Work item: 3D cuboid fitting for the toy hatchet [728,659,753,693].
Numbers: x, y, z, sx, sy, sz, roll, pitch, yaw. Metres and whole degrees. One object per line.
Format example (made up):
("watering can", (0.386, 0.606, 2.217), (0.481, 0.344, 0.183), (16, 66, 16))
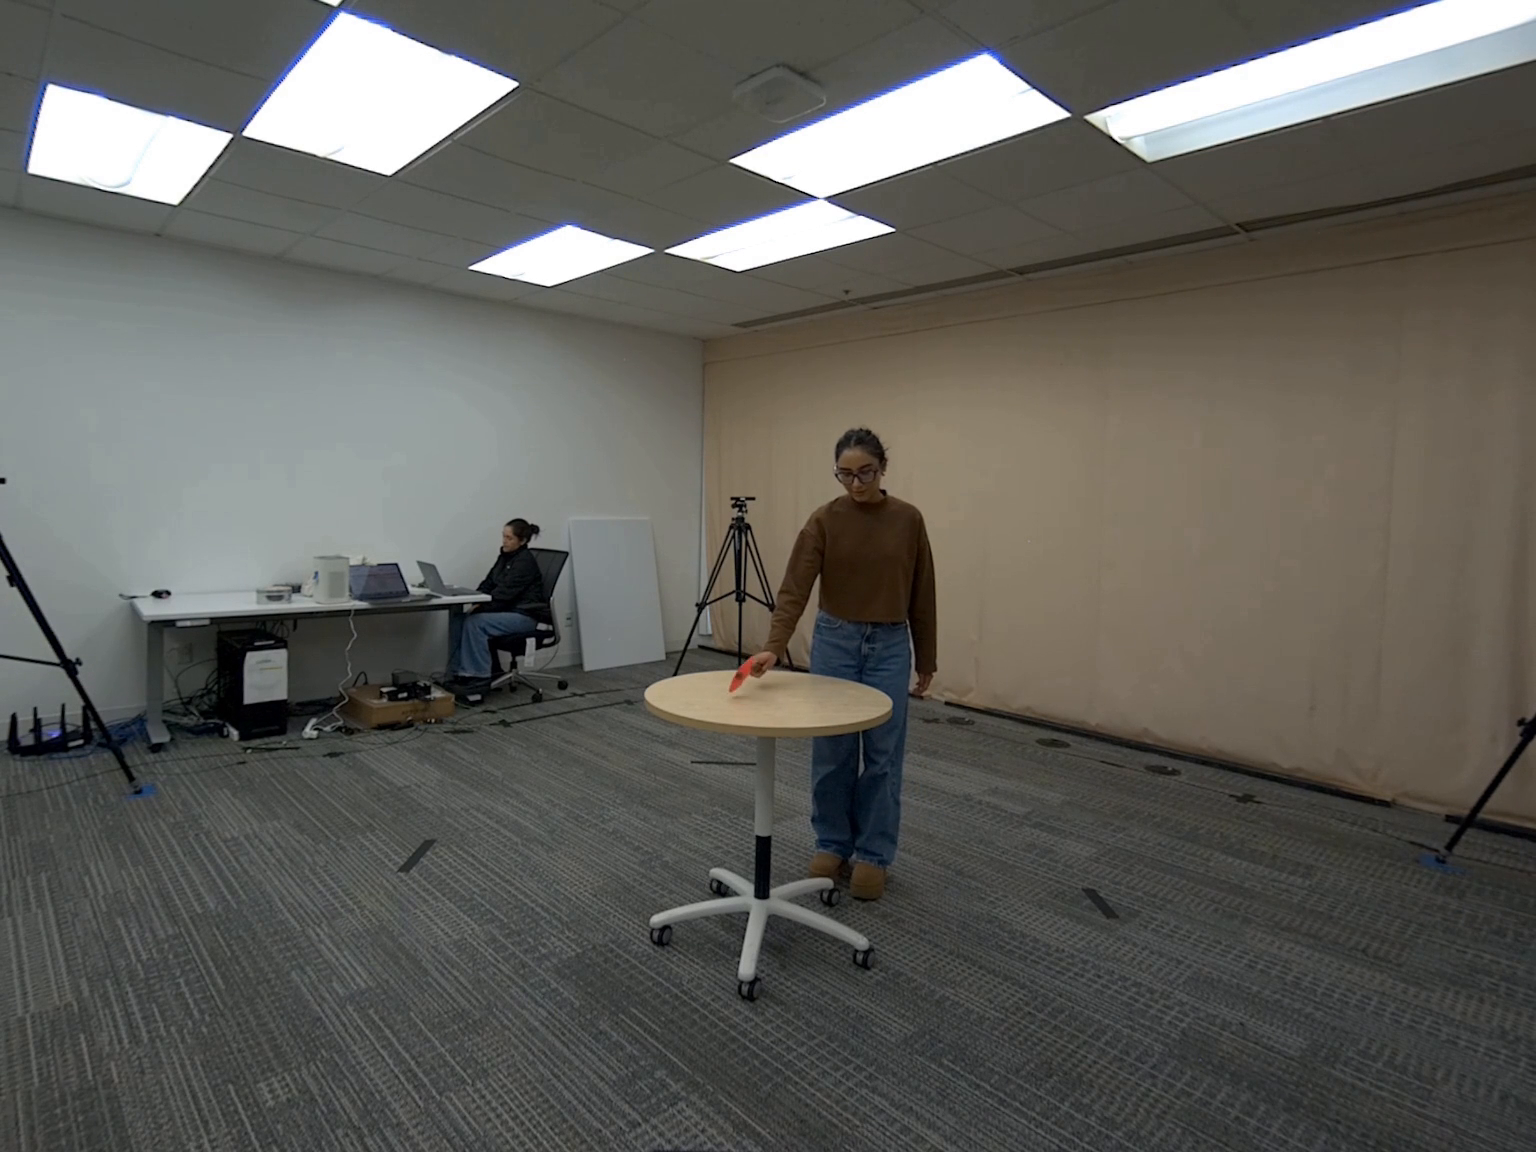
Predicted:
("toy hatchet", (-0.076, 0.320, 2.649), (0.030, 0.131, 0.265), (28, -5, 16))
